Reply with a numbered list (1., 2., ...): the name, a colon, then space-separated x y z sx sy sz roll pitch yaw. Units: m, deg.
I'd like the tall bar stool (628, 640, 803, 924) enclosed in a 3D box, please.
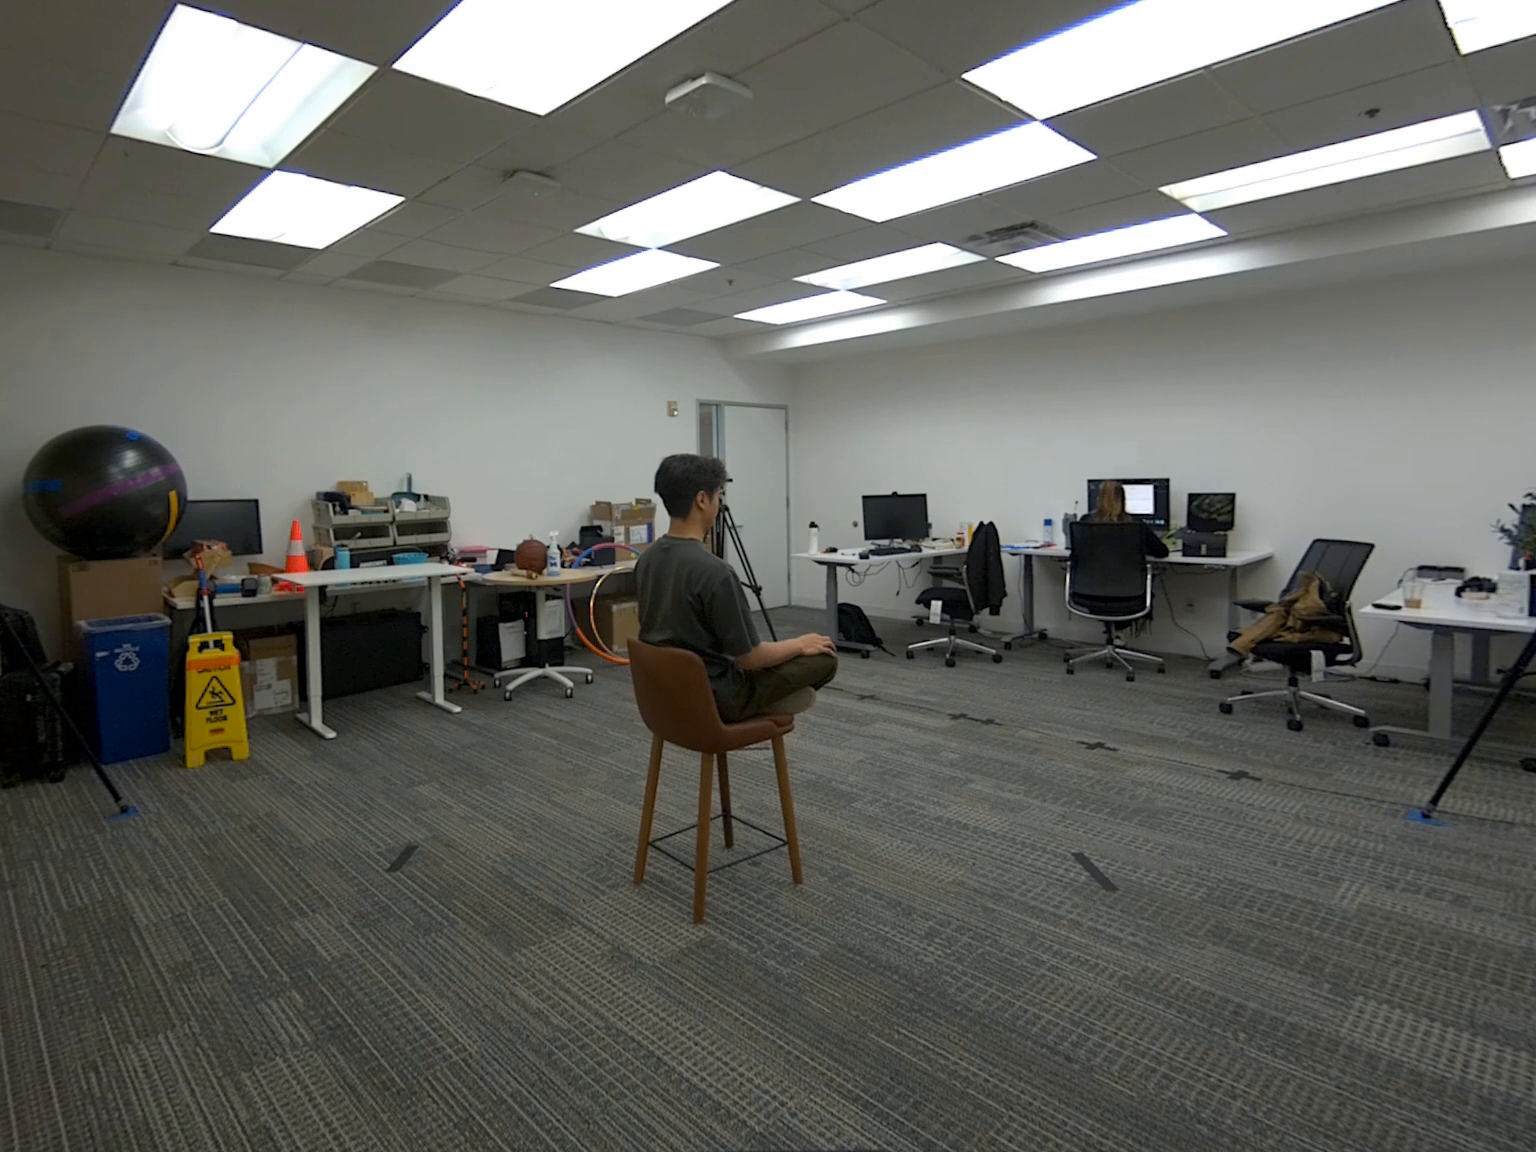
1. tall bar stool: -0.194 0.631 2.936 0.456 0.885 0.470 -8 8 -40
